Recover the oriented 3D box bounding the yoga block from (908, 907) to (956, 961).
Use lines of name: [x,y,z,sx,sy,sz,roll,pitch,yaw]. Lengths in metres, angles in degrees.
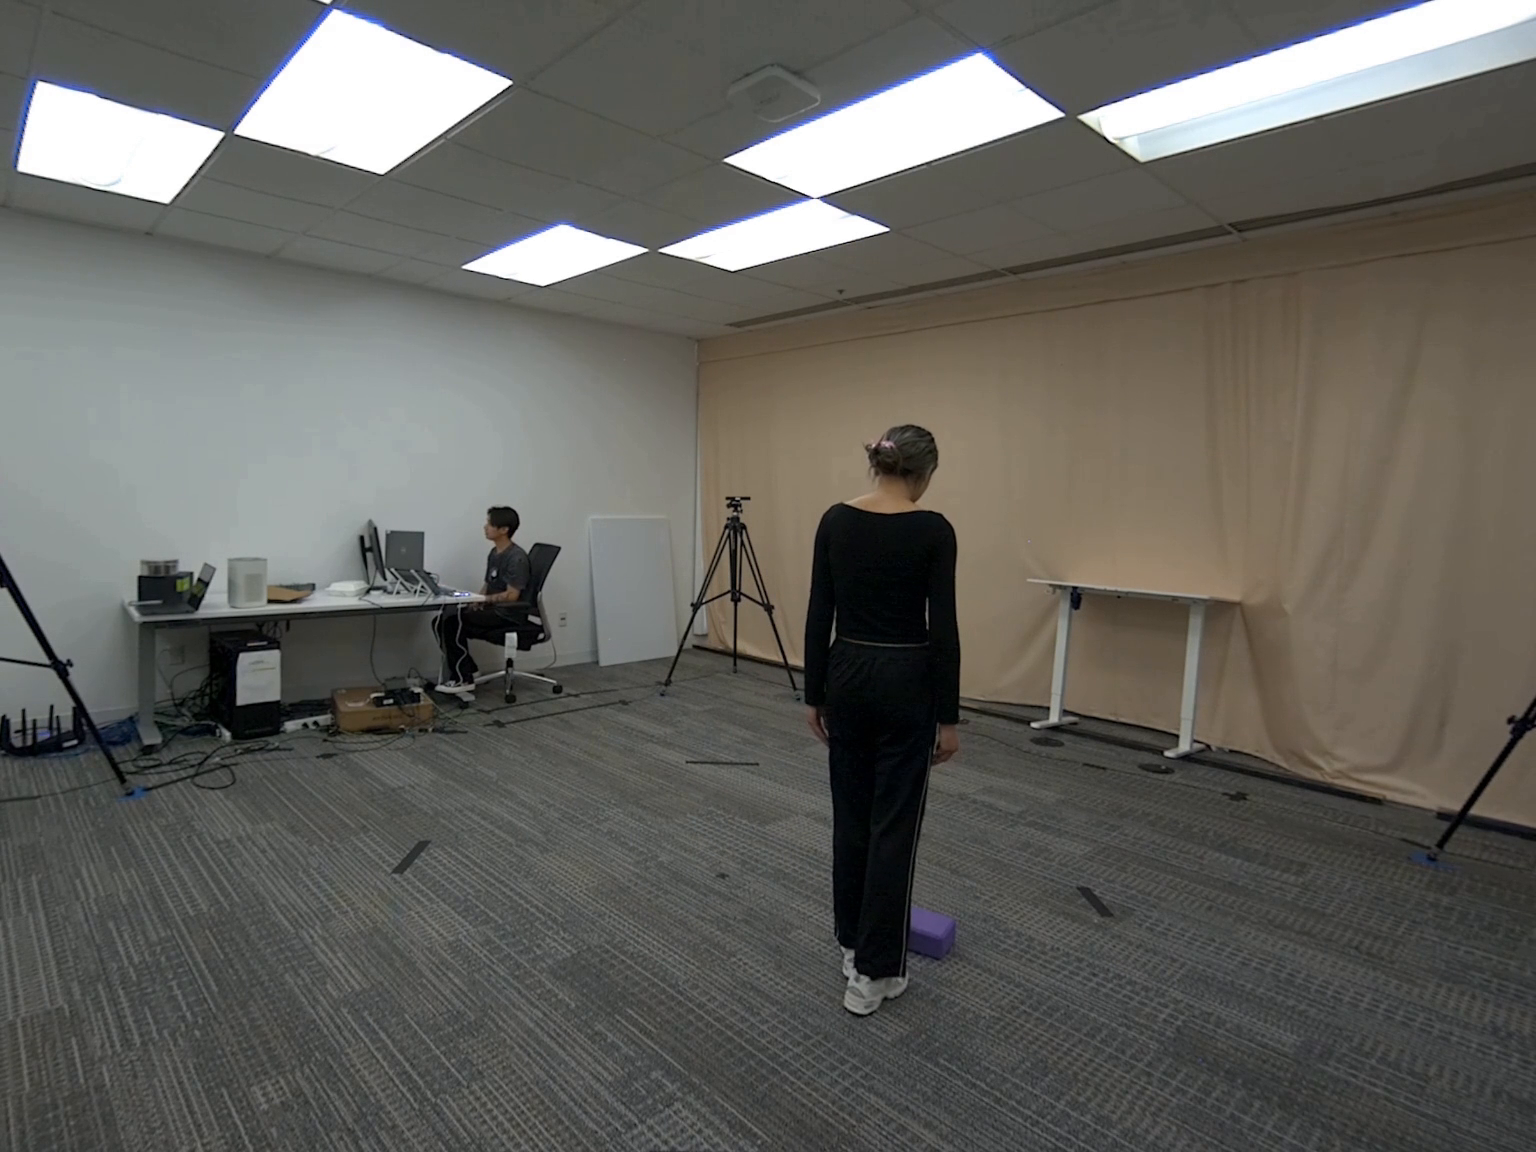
yoga block: [0.454,1.120,2.673,0.234,0.076,0.146,5,6,30]
